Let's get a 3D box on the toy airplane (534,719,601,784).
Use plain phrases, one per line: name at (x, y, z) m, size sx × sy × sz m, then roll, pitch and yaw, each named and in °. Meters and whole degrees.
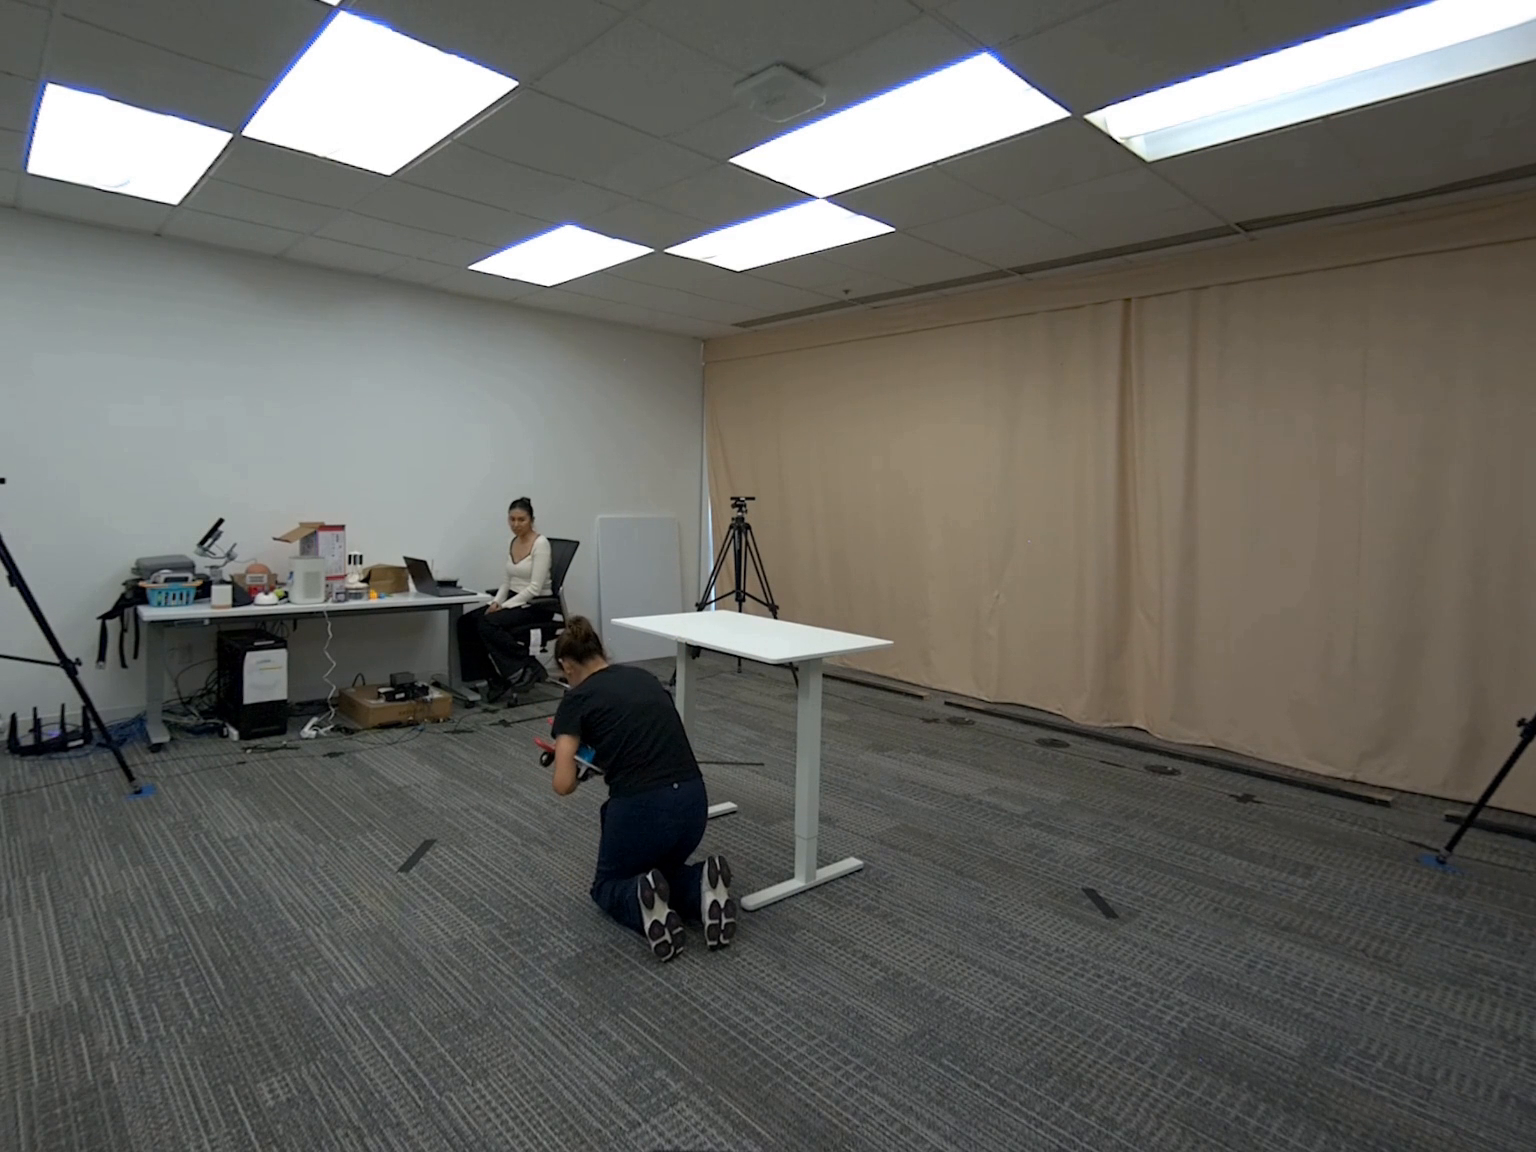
toy airplane at (-0.644, 0.606, 2.845) m, size 0.265 × 0.157 × 0.244 m, roll 14°, pitch -24°, yaw 26°
